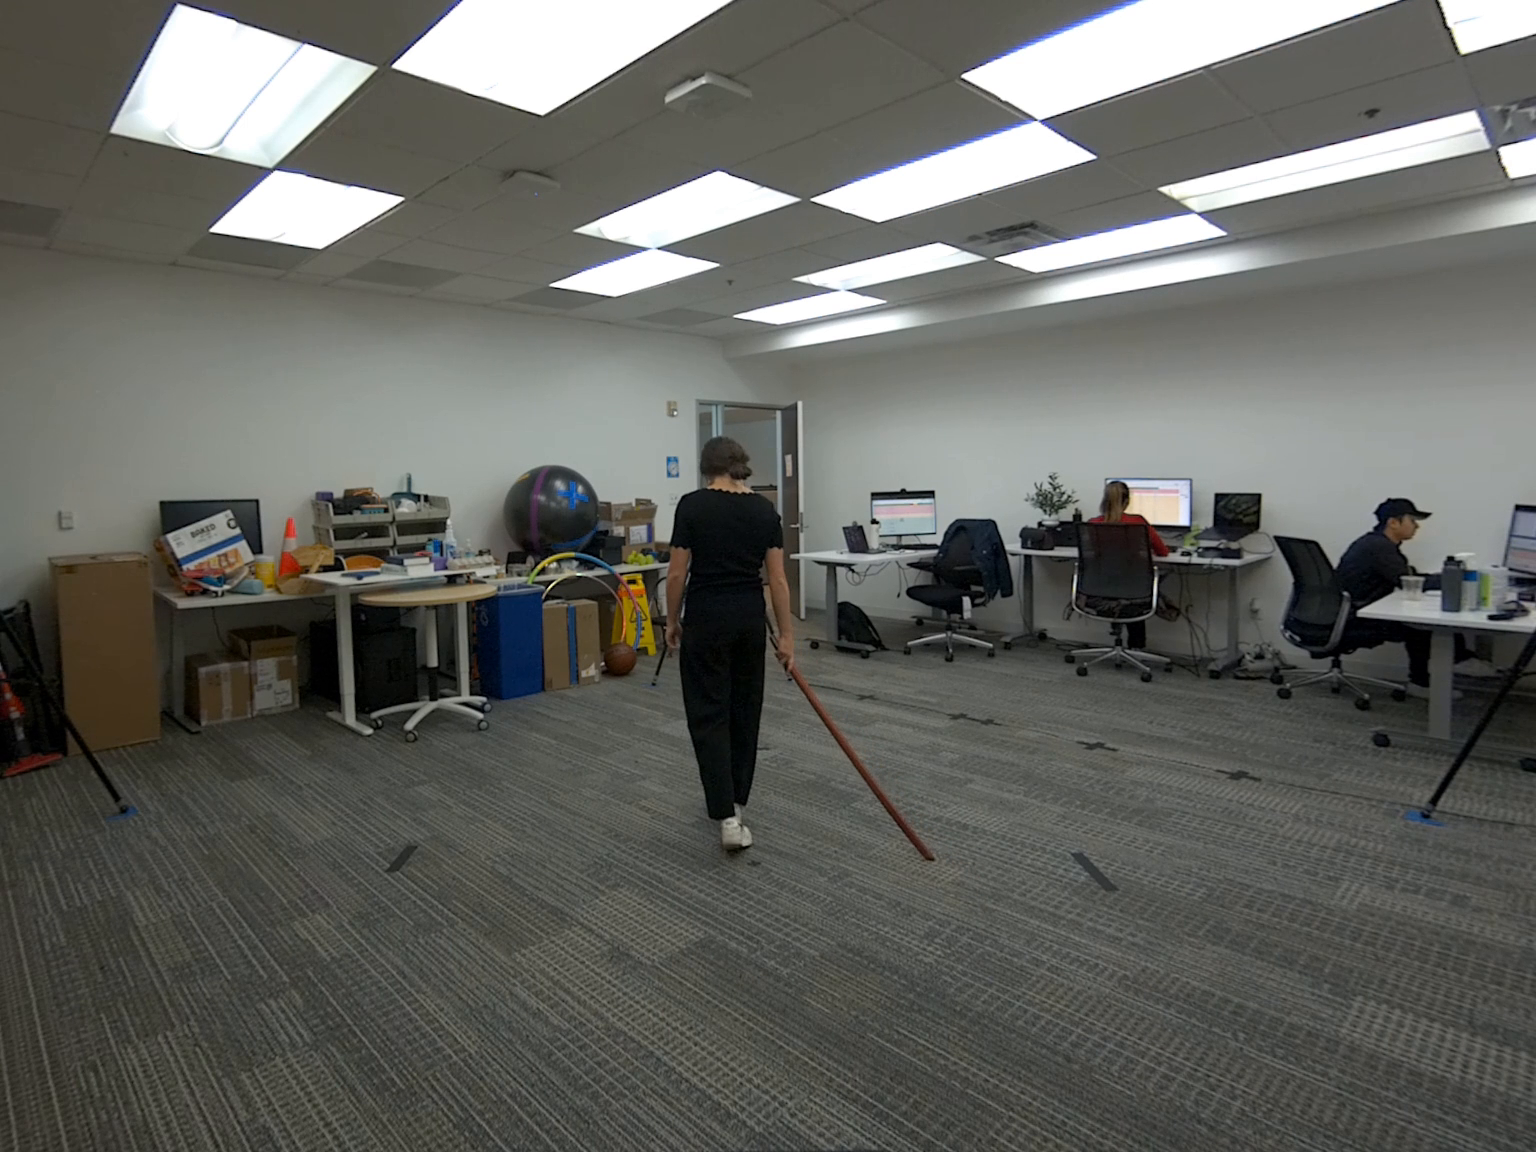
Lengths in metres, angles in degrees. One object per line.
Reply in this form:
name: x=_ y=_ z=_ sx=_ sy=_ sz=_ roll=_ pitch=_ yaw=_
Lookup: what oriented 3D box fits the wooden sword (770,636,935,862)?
wooden sword: x=0.301 y=0.654 z=3.294 sx=0.024 sy=1.053 sz=0.050 roll=-44 pitch=-23 yaw=15
